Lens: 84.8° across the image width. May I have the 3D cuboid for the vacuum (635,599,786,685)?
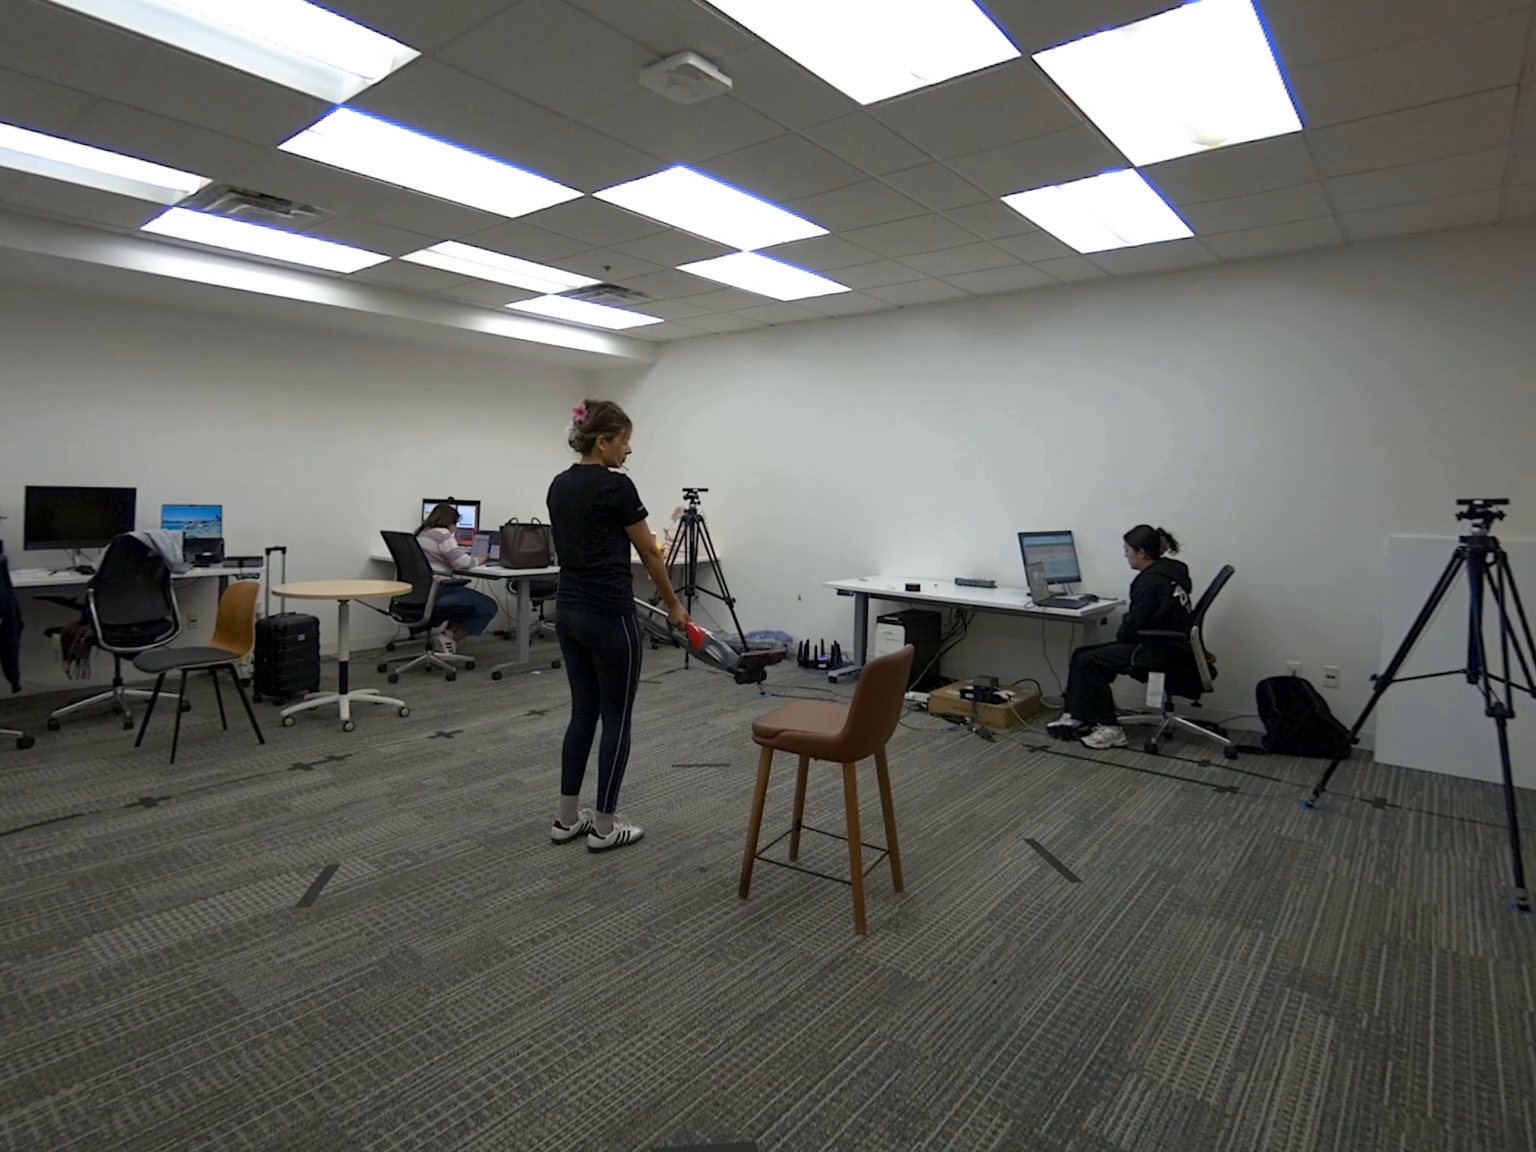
[{"bbox_3d":[-0.420,0.221,3.533,1.091,0.143,0.244,19,12,42],"label":"vacuum"}]
